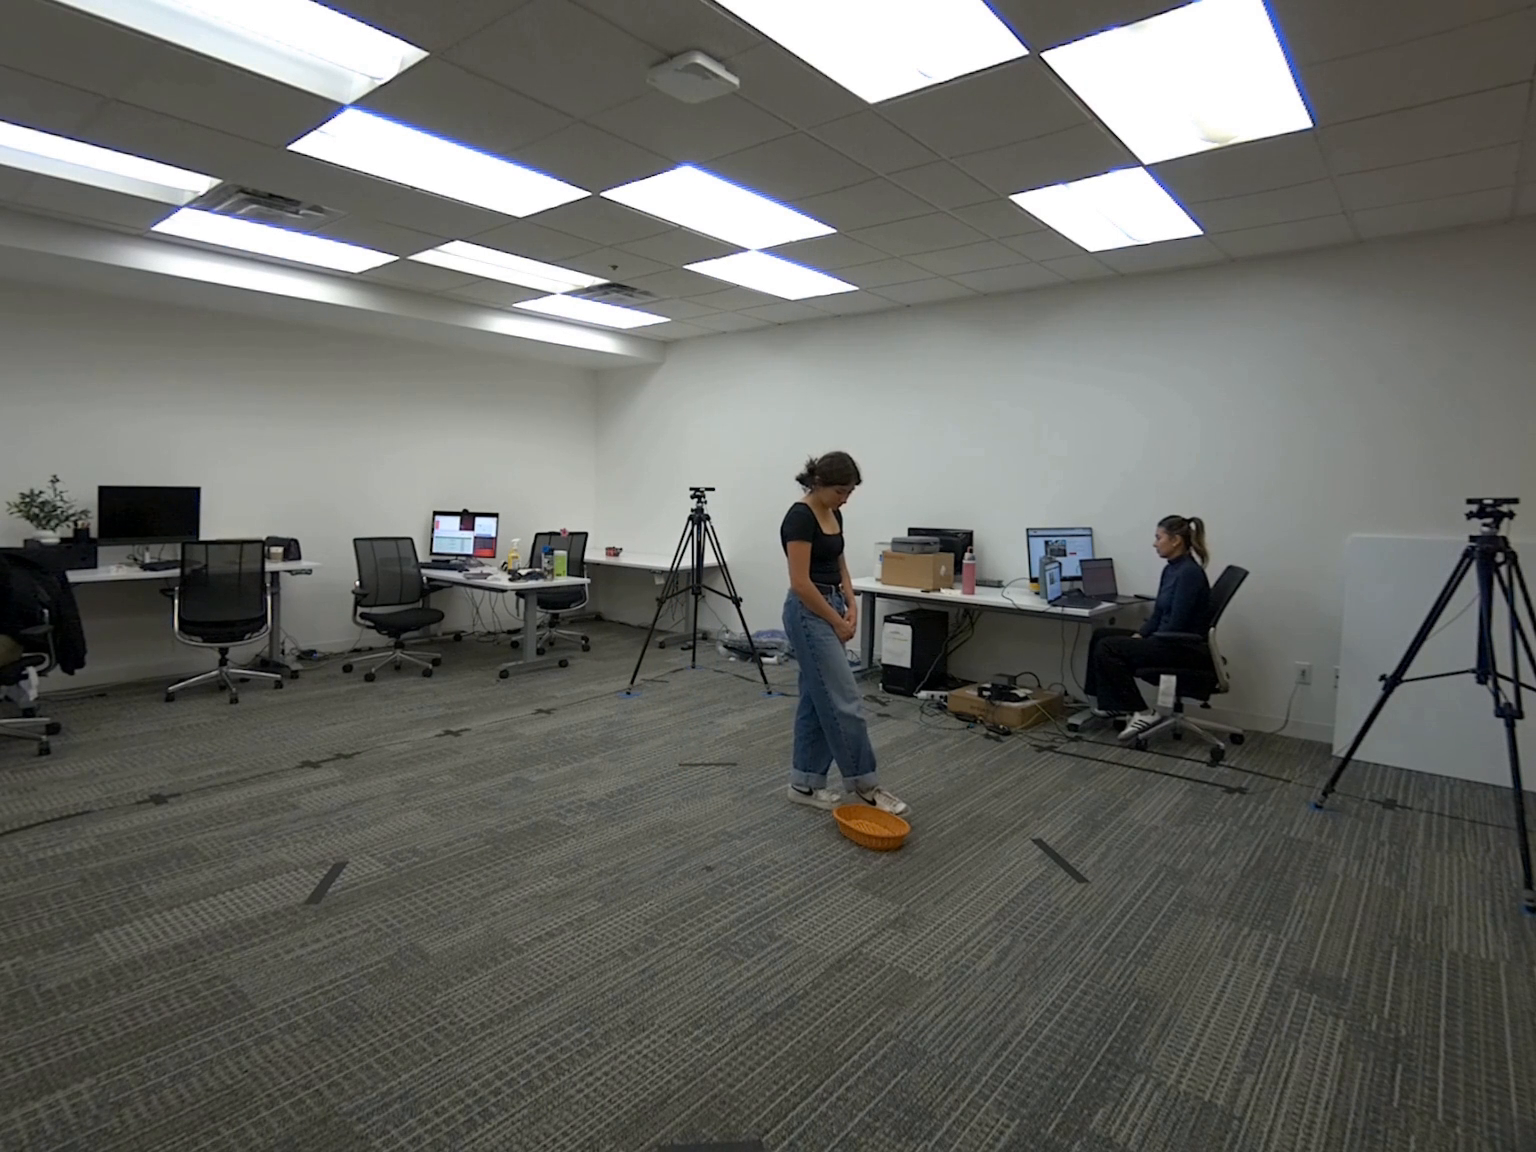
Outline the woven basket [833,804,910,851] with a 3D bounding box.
[{"bbox_3d":[0.402,1.008,3.430,0.245,0.073,0.361,0,5,-30],"label":"woven basket"}]
